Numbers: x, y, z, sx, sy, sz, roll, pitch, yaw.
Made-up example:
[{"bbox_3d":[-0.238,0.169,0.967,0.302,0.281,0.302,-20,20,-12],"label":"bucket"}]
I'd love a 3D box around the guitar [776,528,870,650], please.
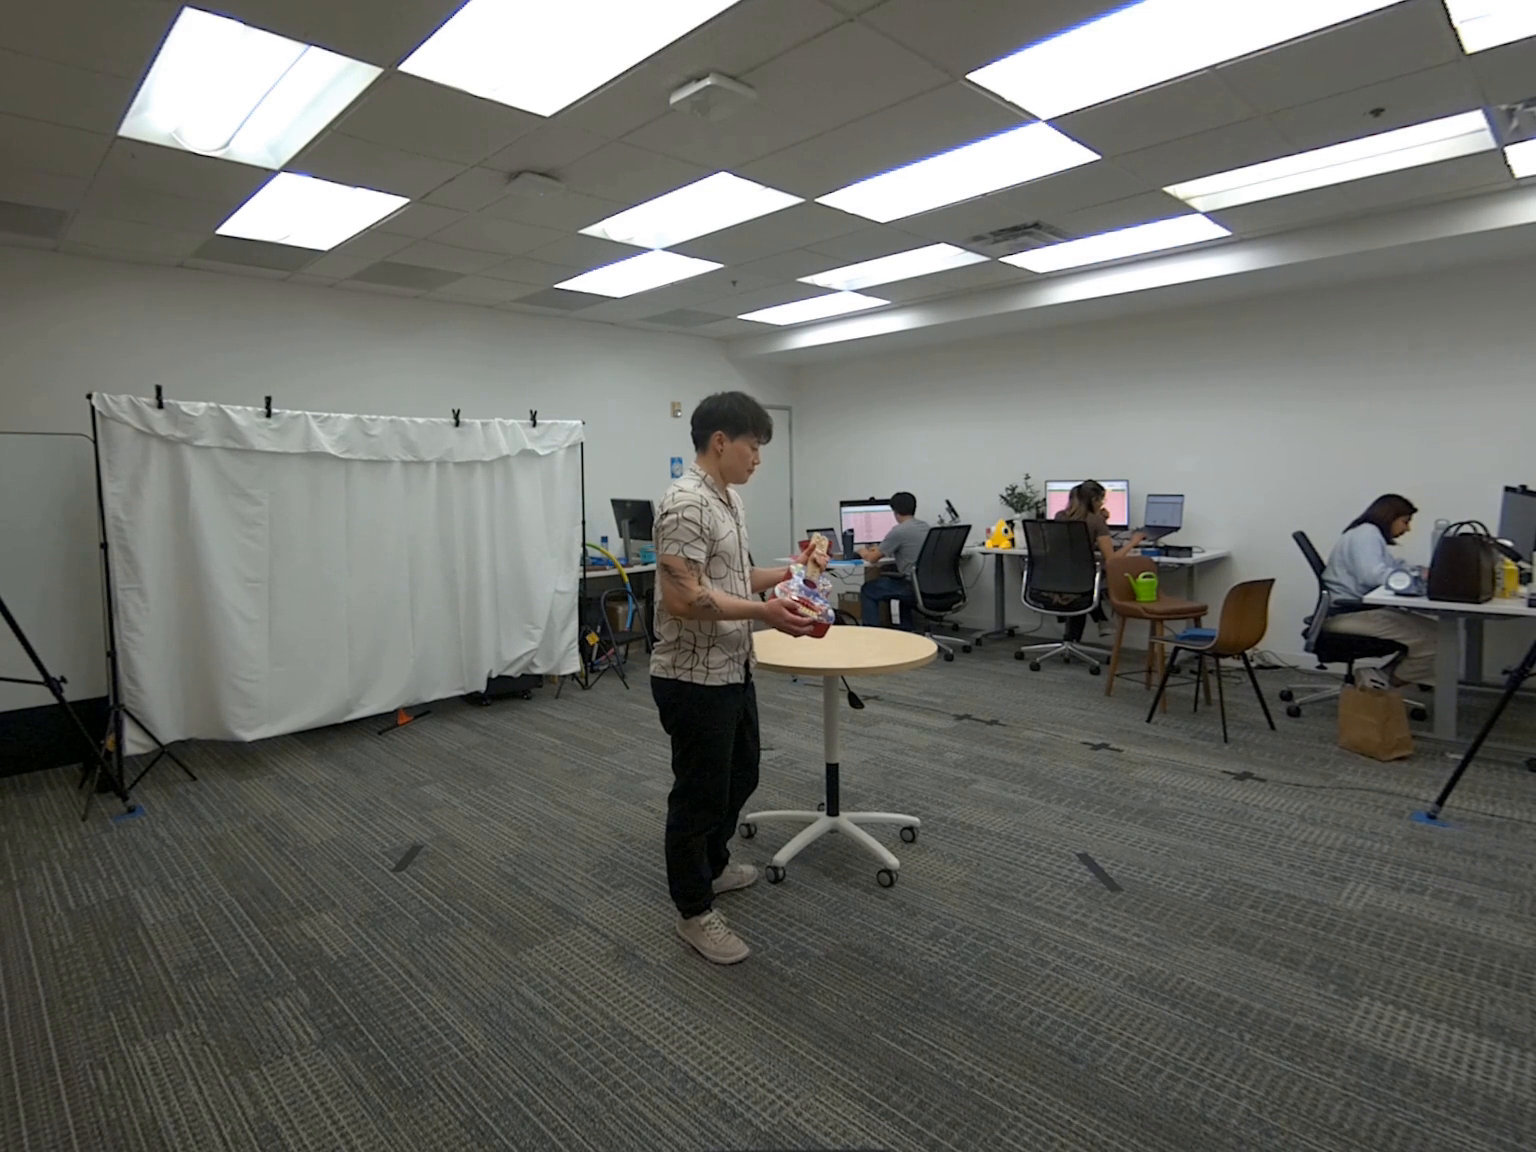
[{"bbox_3d":[0.160,0.022,2.584,0.194,0.070,0.499,27,30,4],"label":"guitar"}]
